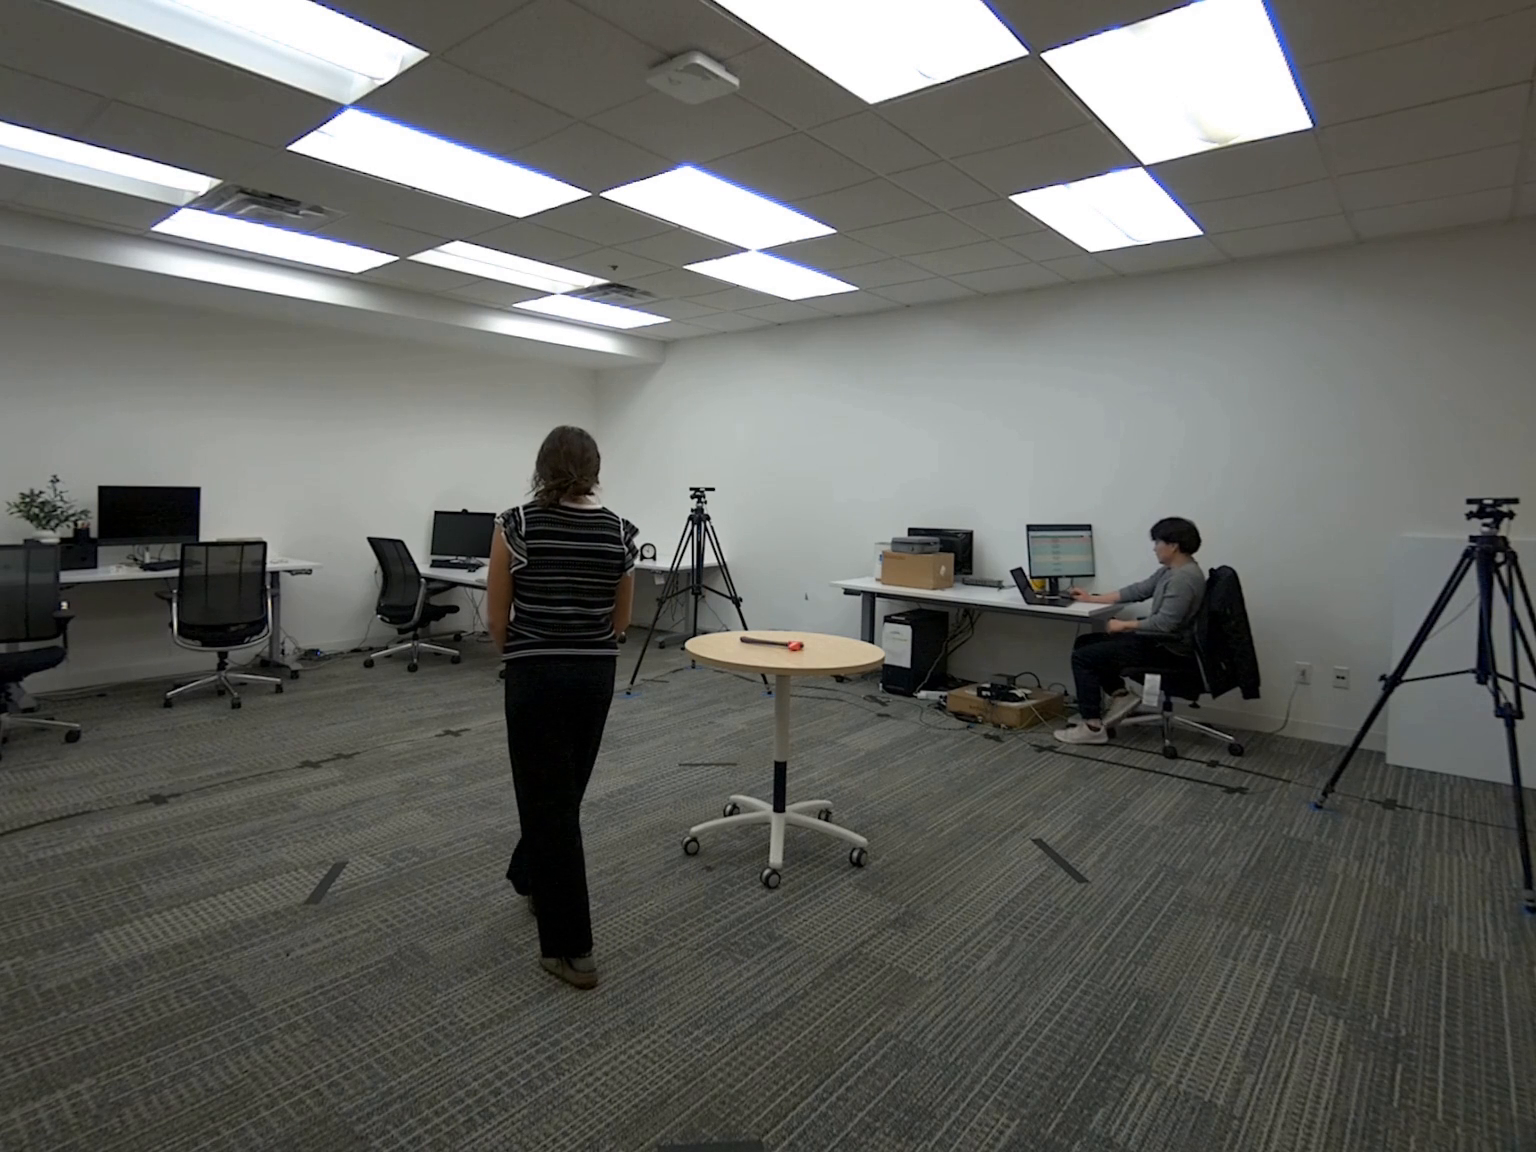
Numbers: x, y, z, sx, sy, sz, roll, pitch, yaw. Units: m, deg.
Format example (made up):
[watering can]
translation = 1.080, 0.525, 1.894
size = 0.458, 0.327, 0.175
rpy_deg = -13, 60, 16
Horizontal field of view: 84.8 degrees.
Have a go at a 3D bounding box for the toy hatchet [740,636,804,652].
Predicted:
[toy hatchet]
translation = 0.014, 0.251, 3.323
size = 0.279, 0.029, 0.127
rpy_deg = 6, 5, 43
